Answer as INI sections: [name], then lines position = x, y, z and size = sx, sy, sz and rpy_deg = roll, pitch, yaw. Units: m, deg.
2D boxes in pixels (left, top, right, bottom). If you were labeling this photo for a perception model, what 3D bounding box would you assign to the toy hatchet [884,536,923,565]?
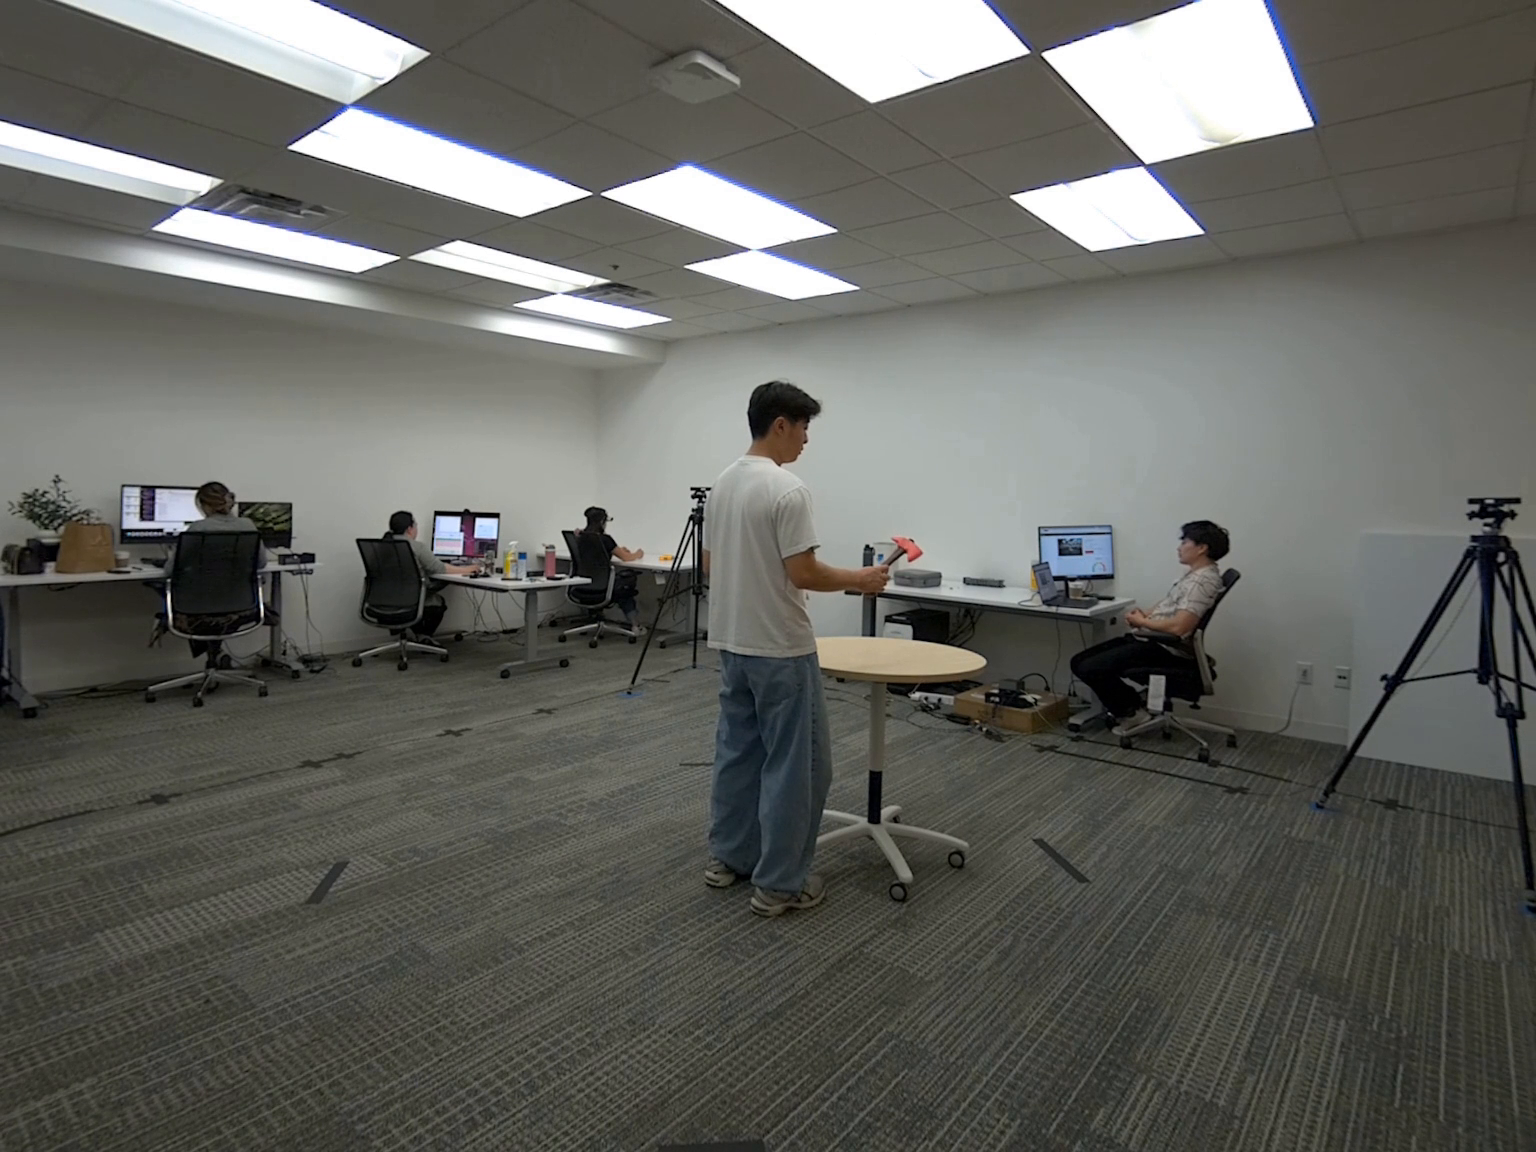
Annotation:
[toy hatchet]
position = 0.427, -0.026, 2.873
size = 0.135, 0.271, 0.028
rpy_deg = 15, -33, 29
